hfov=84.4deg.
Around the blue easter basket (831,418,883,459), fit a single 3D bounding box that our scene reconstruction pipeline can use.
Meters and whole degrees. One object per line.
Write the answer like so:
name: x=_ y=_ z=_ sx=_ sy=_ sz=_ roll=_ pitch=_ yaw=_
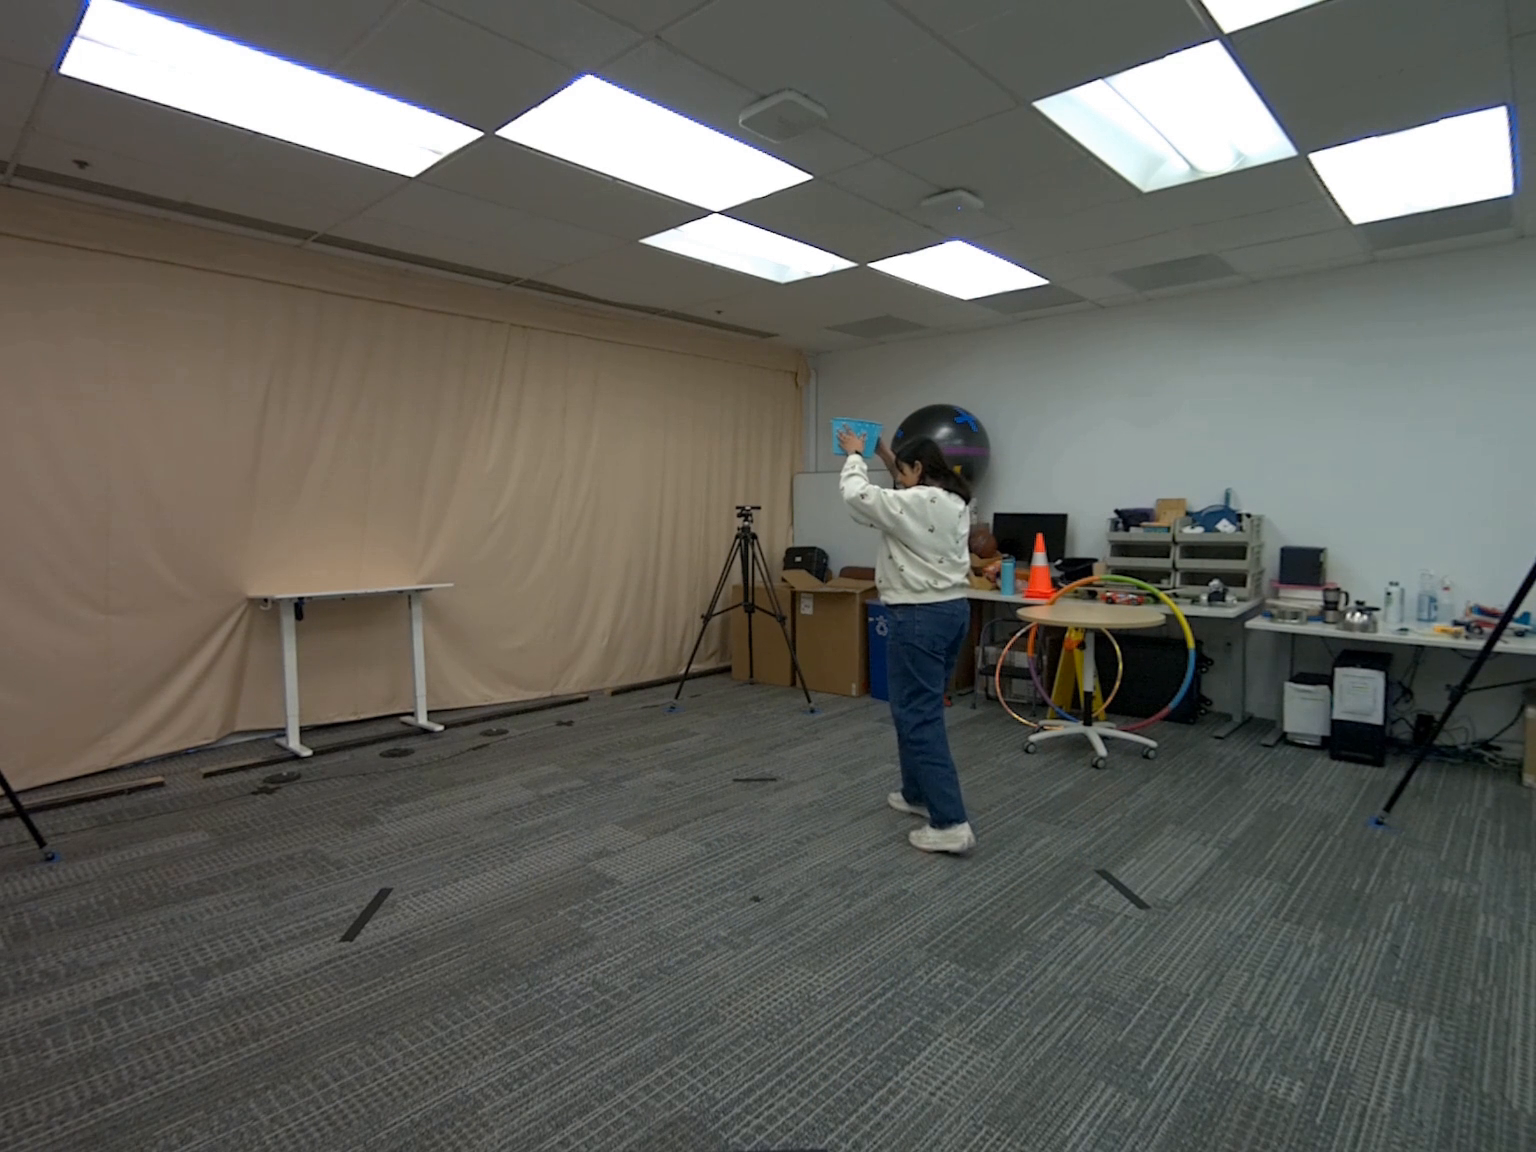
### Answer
blue easter basket: x=0.398 y=-0.613 z=3.768 sx=0.243 sy=0.155 sz=0.245 roll=6 pitch=7 yaw=-3
